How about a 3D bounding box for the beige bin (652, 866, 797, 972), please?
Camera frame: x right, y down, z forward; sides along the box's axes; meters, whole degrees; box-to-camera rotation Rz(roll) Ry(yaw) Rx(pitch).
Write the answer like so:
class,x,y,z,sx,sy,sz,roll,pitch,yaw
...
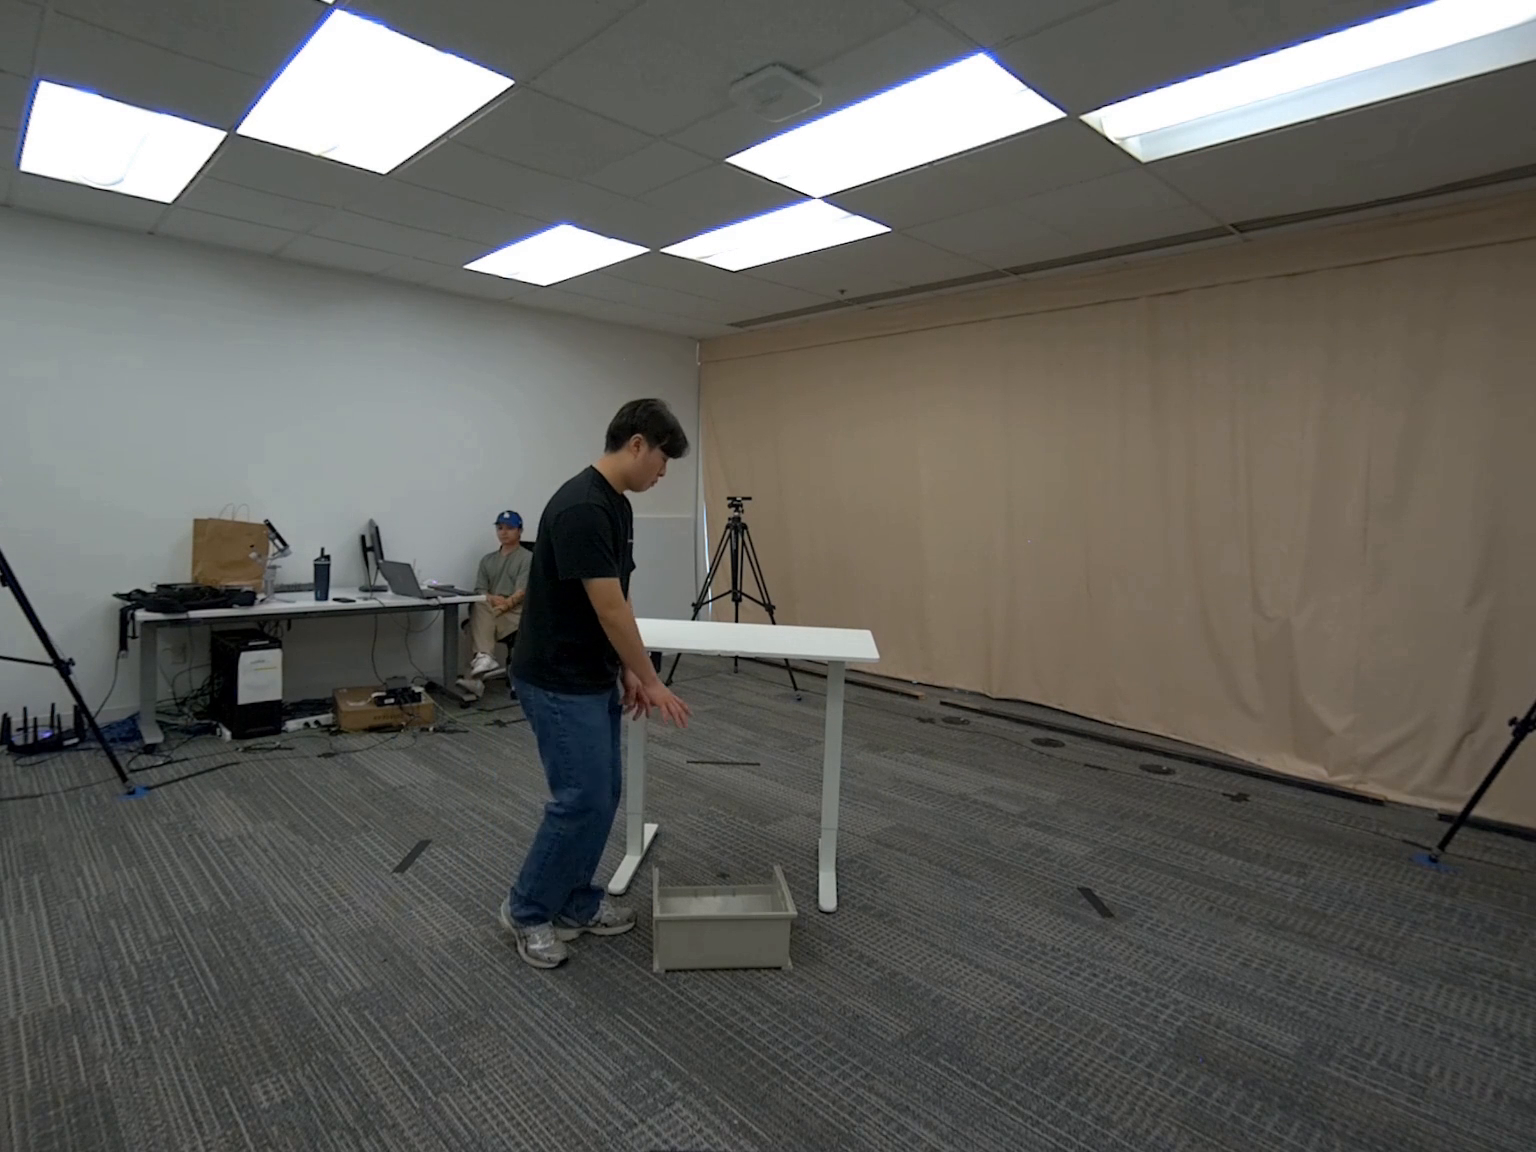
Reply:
class,x,y,z,sx,sy,sz,roll,pitch,yaw
beige bin,-0.157,1.061,2.642,0.420,0.188,0.381,1,6,-7
